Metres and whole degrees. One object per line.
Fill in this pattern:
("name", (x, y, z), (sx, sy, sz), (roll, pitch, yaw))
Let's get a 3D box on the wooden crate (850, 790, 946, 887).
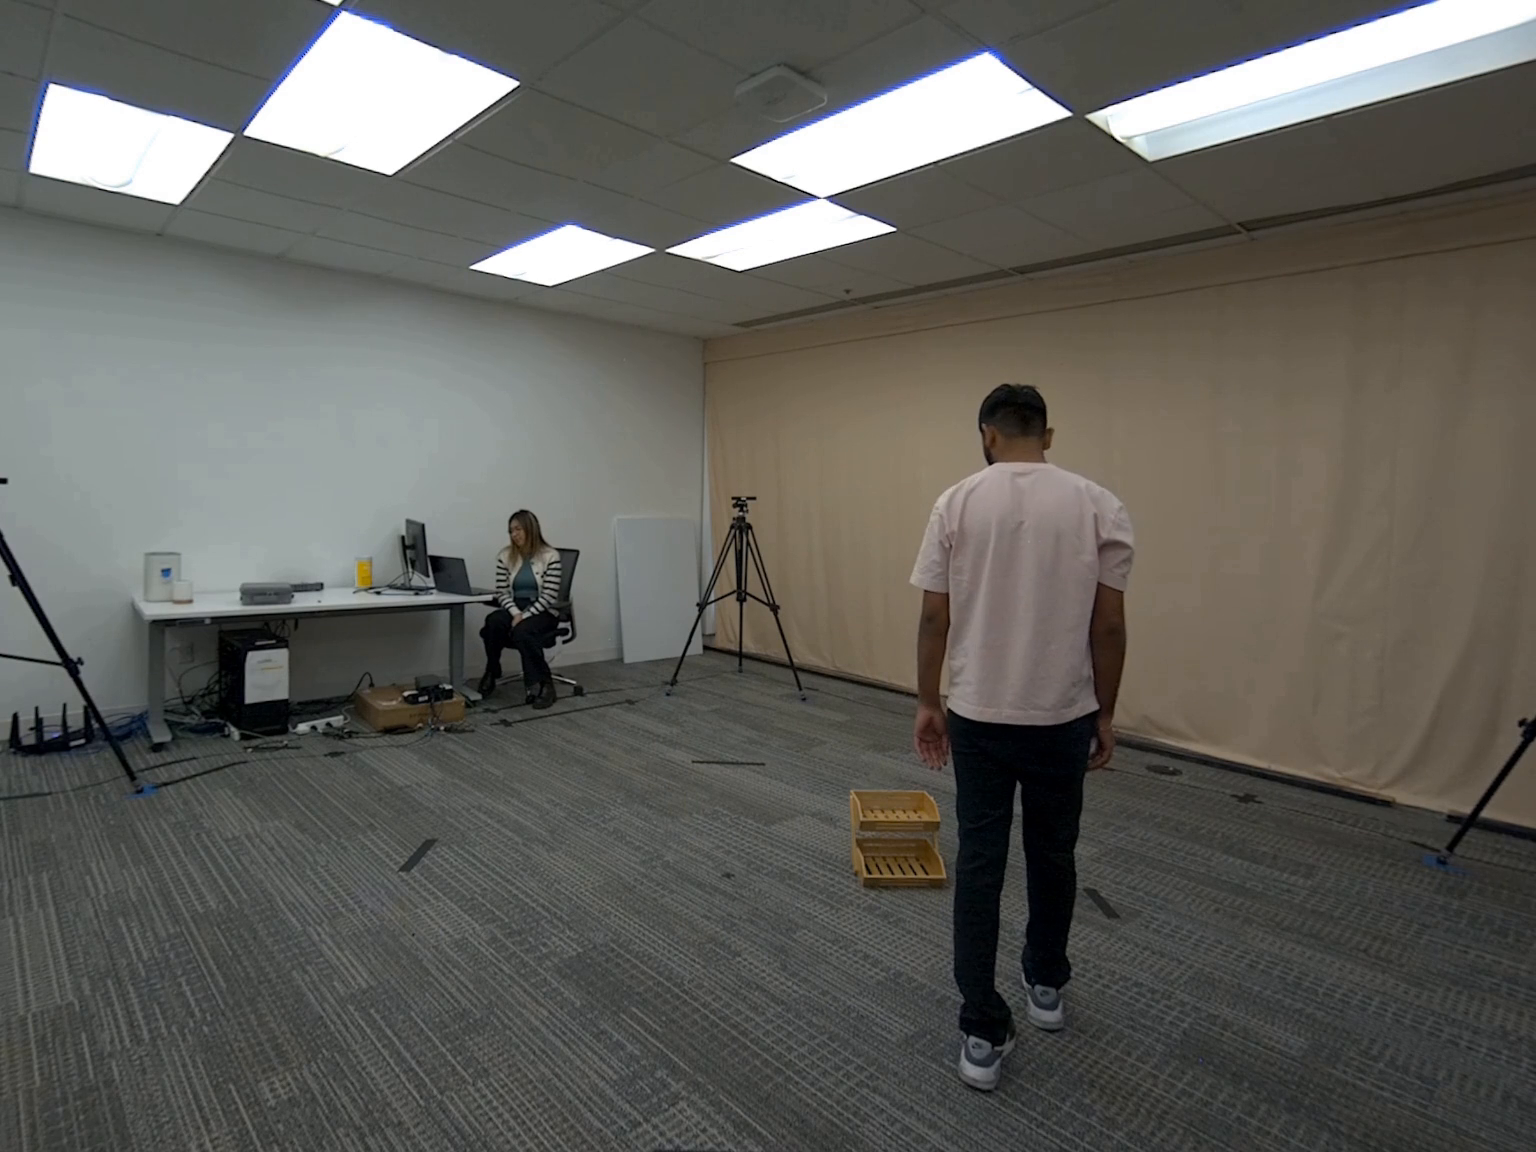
("wooden crate", (0.482, 0.982, 3.163), (0.323, 0.273, 0.304), (2, 3, -6))
